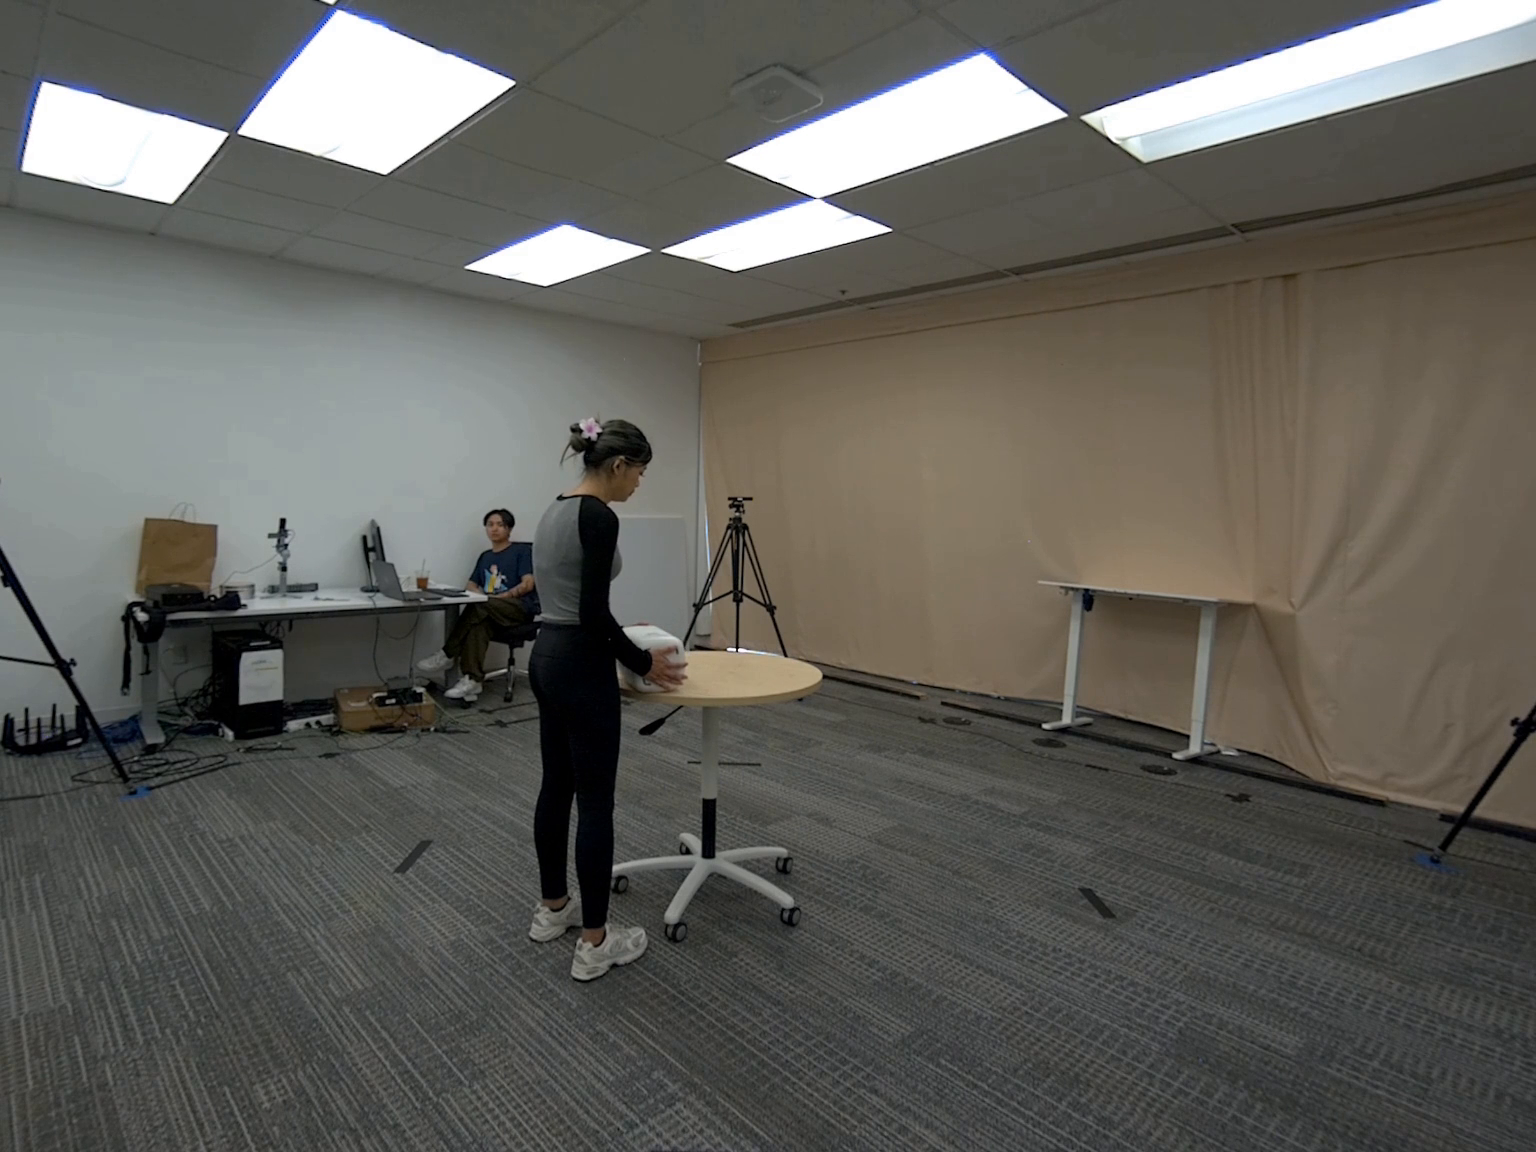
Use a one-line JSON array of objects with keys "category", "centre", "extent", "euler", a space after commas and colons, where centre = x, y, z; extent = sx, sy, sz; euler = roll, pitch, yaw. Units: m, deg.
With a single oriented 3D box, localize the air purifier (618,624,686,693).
[{"category": "air purifier", "centre": [-0.380, 0.263, 2.684], "extent": [0.168, 0.171, 0.270], "euler": [-2, 5, -22]}]
